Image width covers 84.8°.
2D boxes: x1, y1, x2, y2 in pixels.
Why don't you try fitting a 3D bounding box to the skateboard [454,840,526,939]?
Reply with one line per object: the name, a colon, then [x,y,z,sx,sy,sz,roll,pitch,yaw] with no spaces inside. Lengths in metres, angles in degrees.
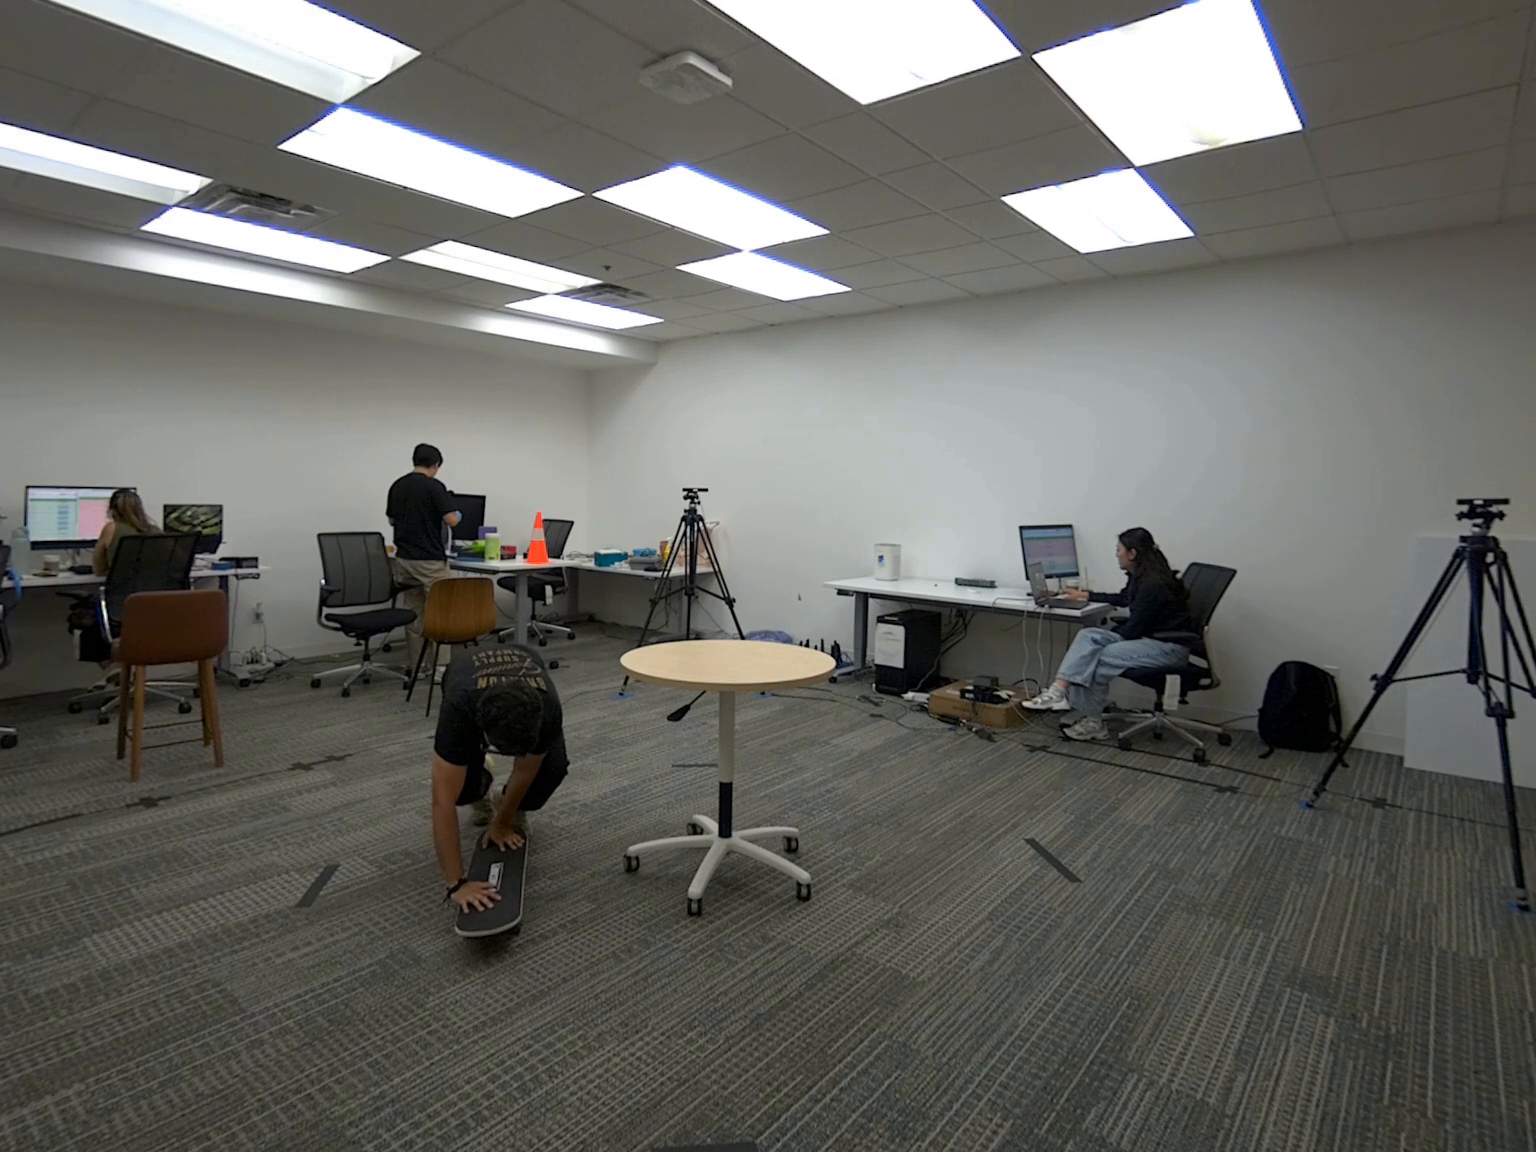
skateboard: [-0.919,1.031,2.829,0.191,0.110,0.797,-4,6,-12]
